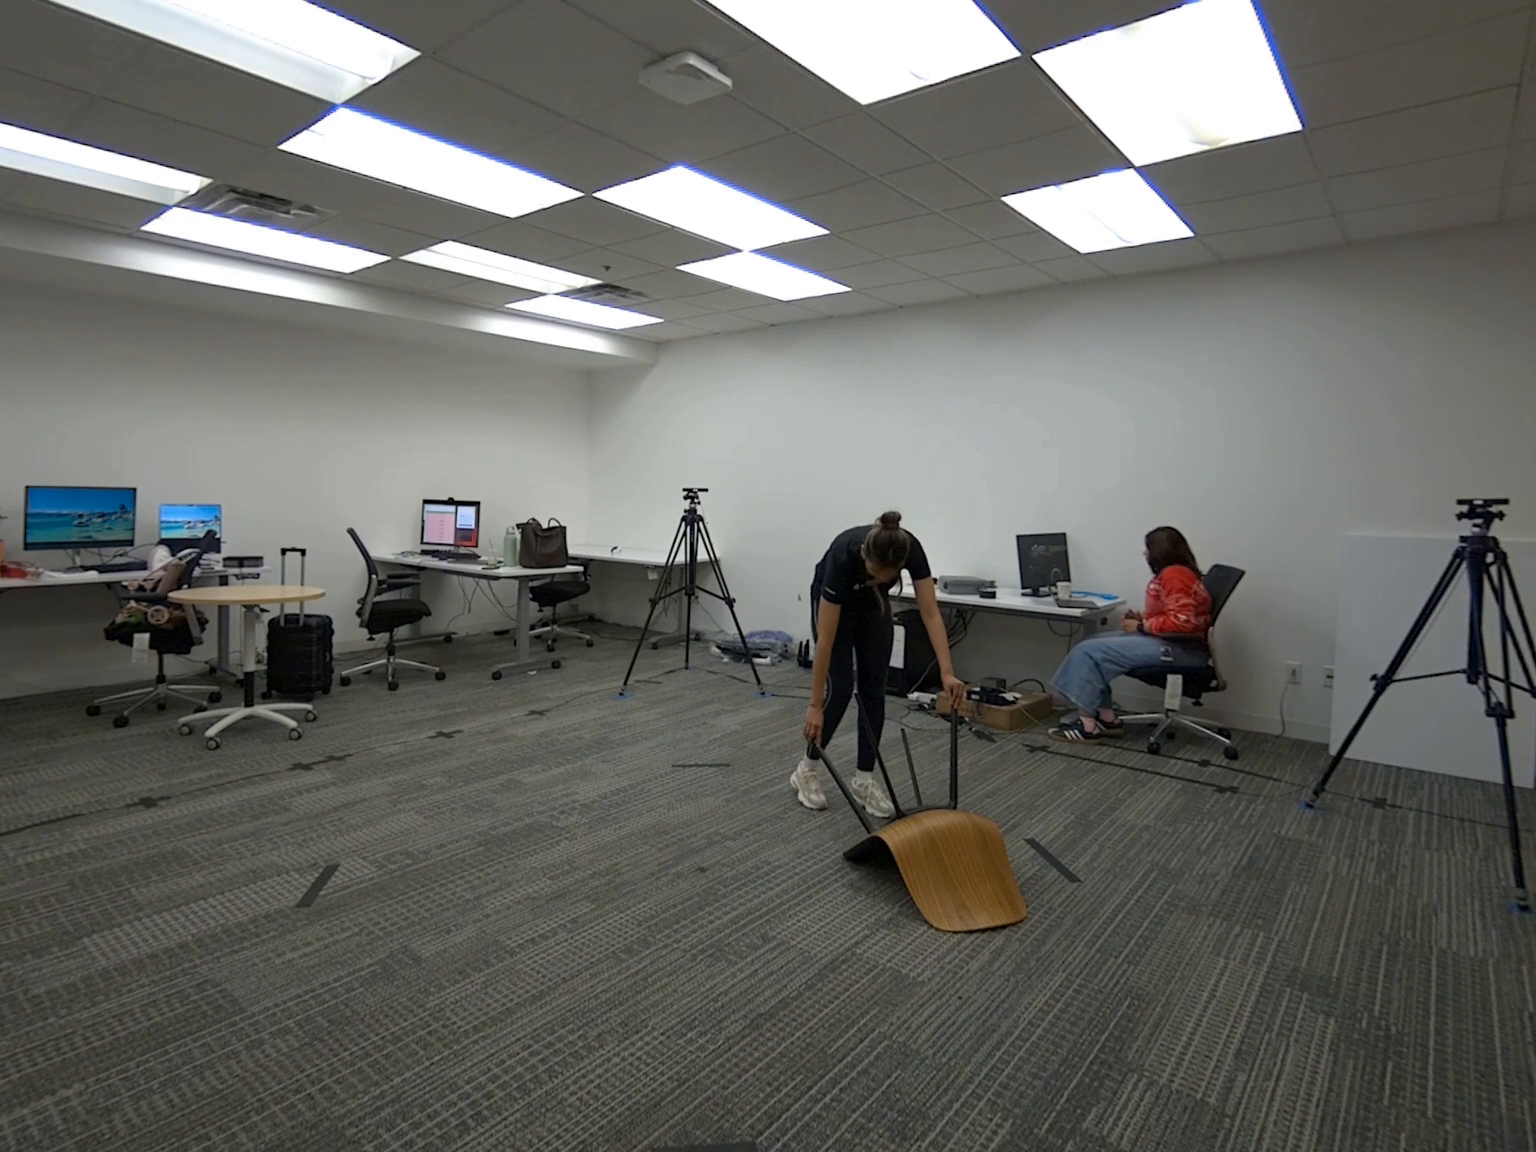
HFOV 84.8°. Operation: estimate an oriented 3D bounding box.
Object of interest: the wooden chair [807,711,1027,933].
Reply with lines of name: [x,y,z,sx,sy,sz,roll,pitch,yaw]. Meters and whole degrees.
wooden chair: [0.530,0.913,3.162,0.468,0.906,0.517,0,-36,-21]
